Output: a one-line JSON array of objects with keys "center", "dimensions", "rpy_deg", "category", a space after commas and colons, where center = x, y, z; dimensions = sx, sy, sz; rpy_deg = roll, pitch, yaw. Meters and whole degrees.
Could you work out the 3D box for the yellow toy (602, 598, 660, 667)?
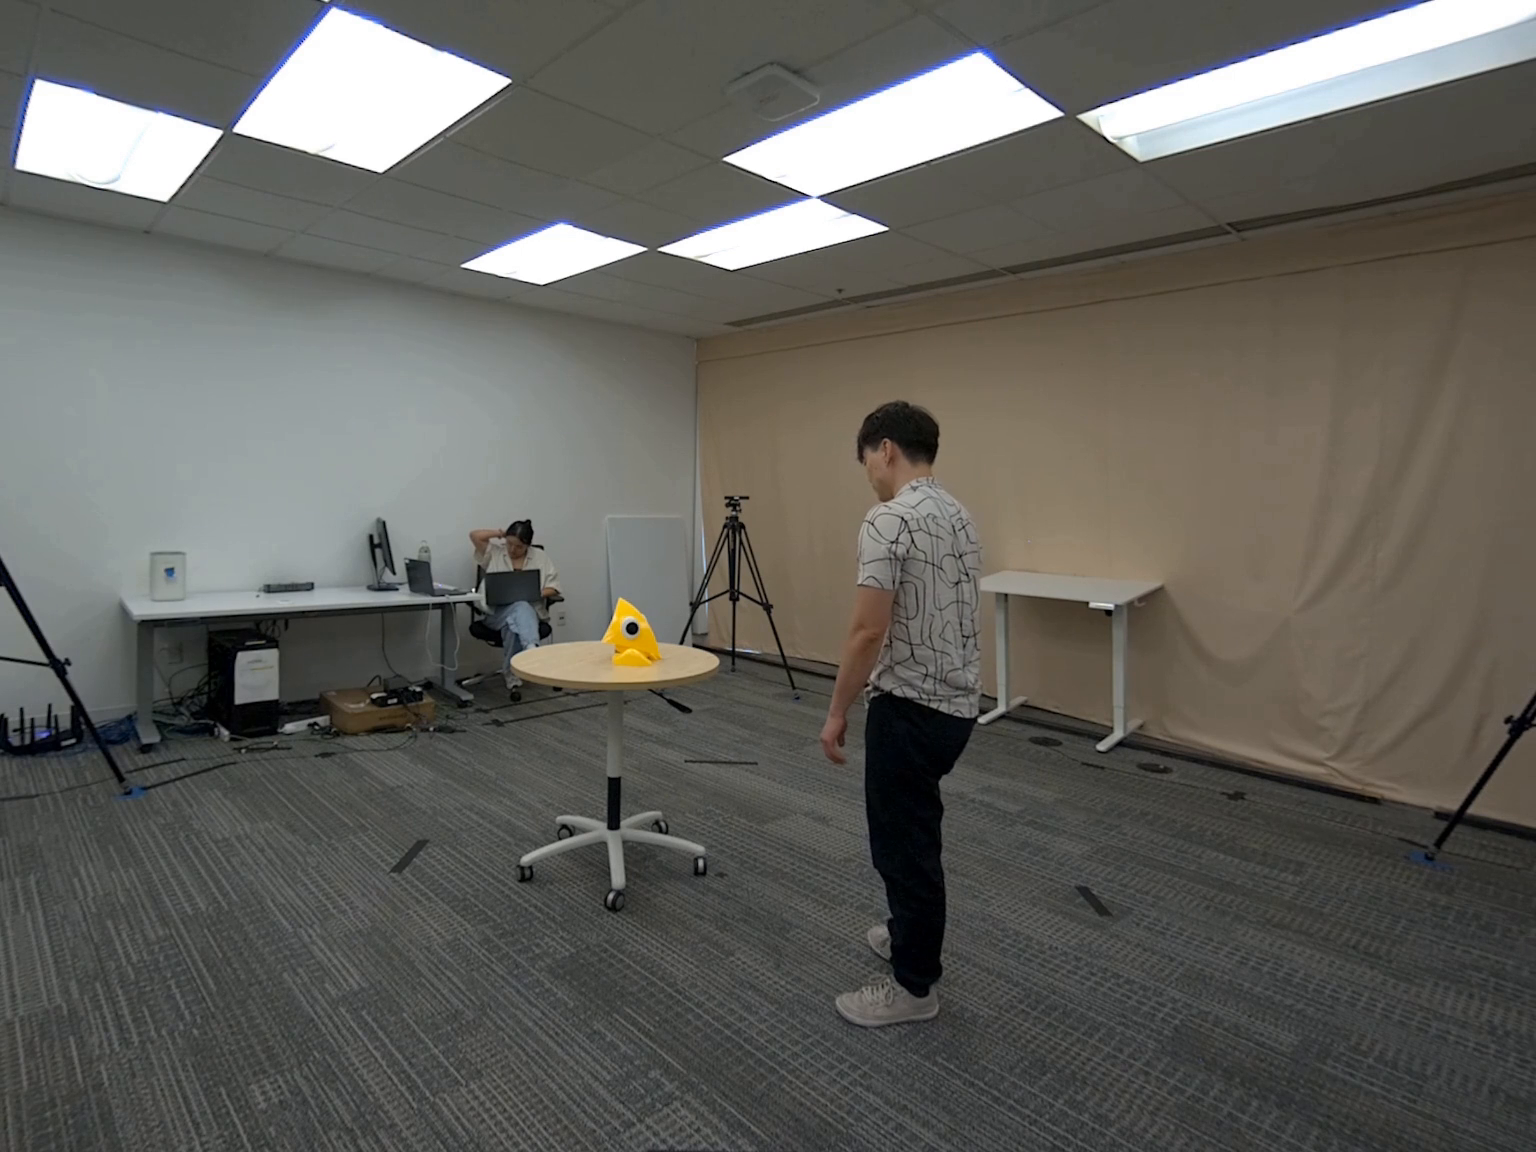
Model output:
[{"center": [-0.502, 0.200, 3.104], "dimensions": [0.195, 0.230, 0.203], "rpy_deg": [3, 4, 11], "category": "yellow toy"}]
